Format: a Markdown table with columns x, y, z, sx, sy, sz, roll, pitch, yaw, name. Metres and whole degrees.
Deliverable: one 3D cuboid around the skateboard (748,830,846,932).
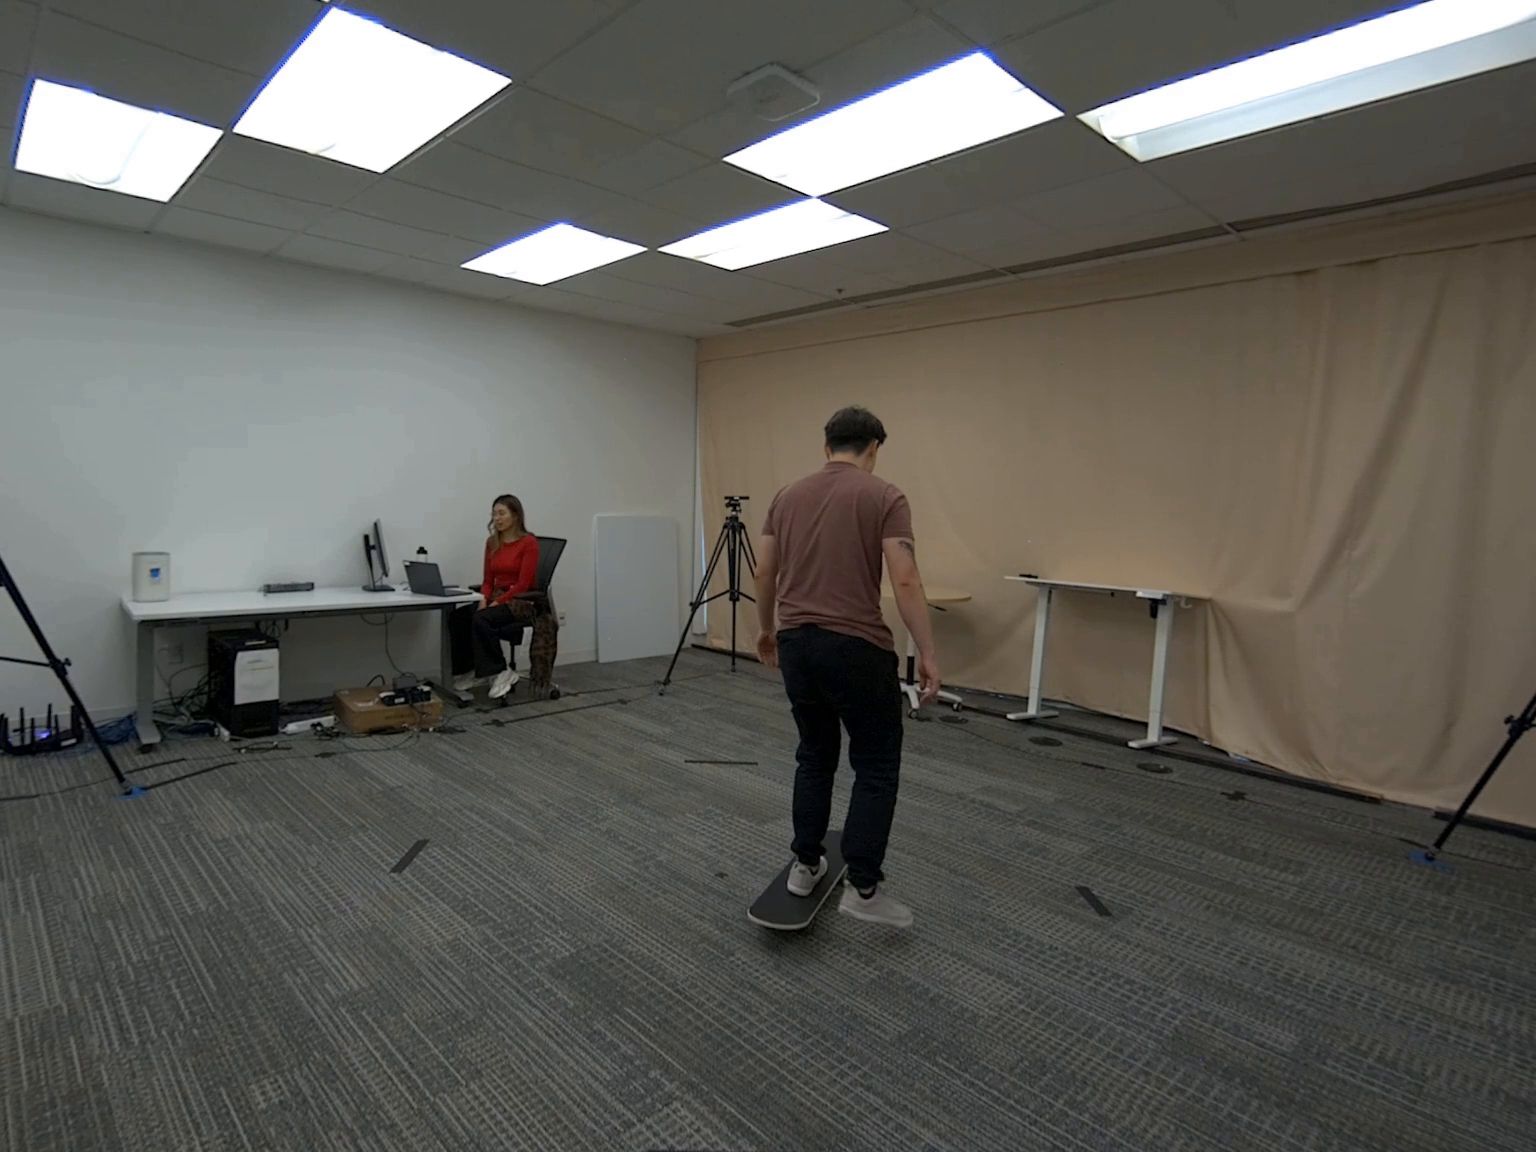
| x | y | z | sx | sy | sz | roll | pitch | yaw | name |
| --- | --- | --- | --- | --- | --- | --- | --- | --- | --- |
| 0.132 | 1.072 | 2.902 | 0.197 | 0.110 | 0.774 | 4 | 6 | 21 | skateboard |
